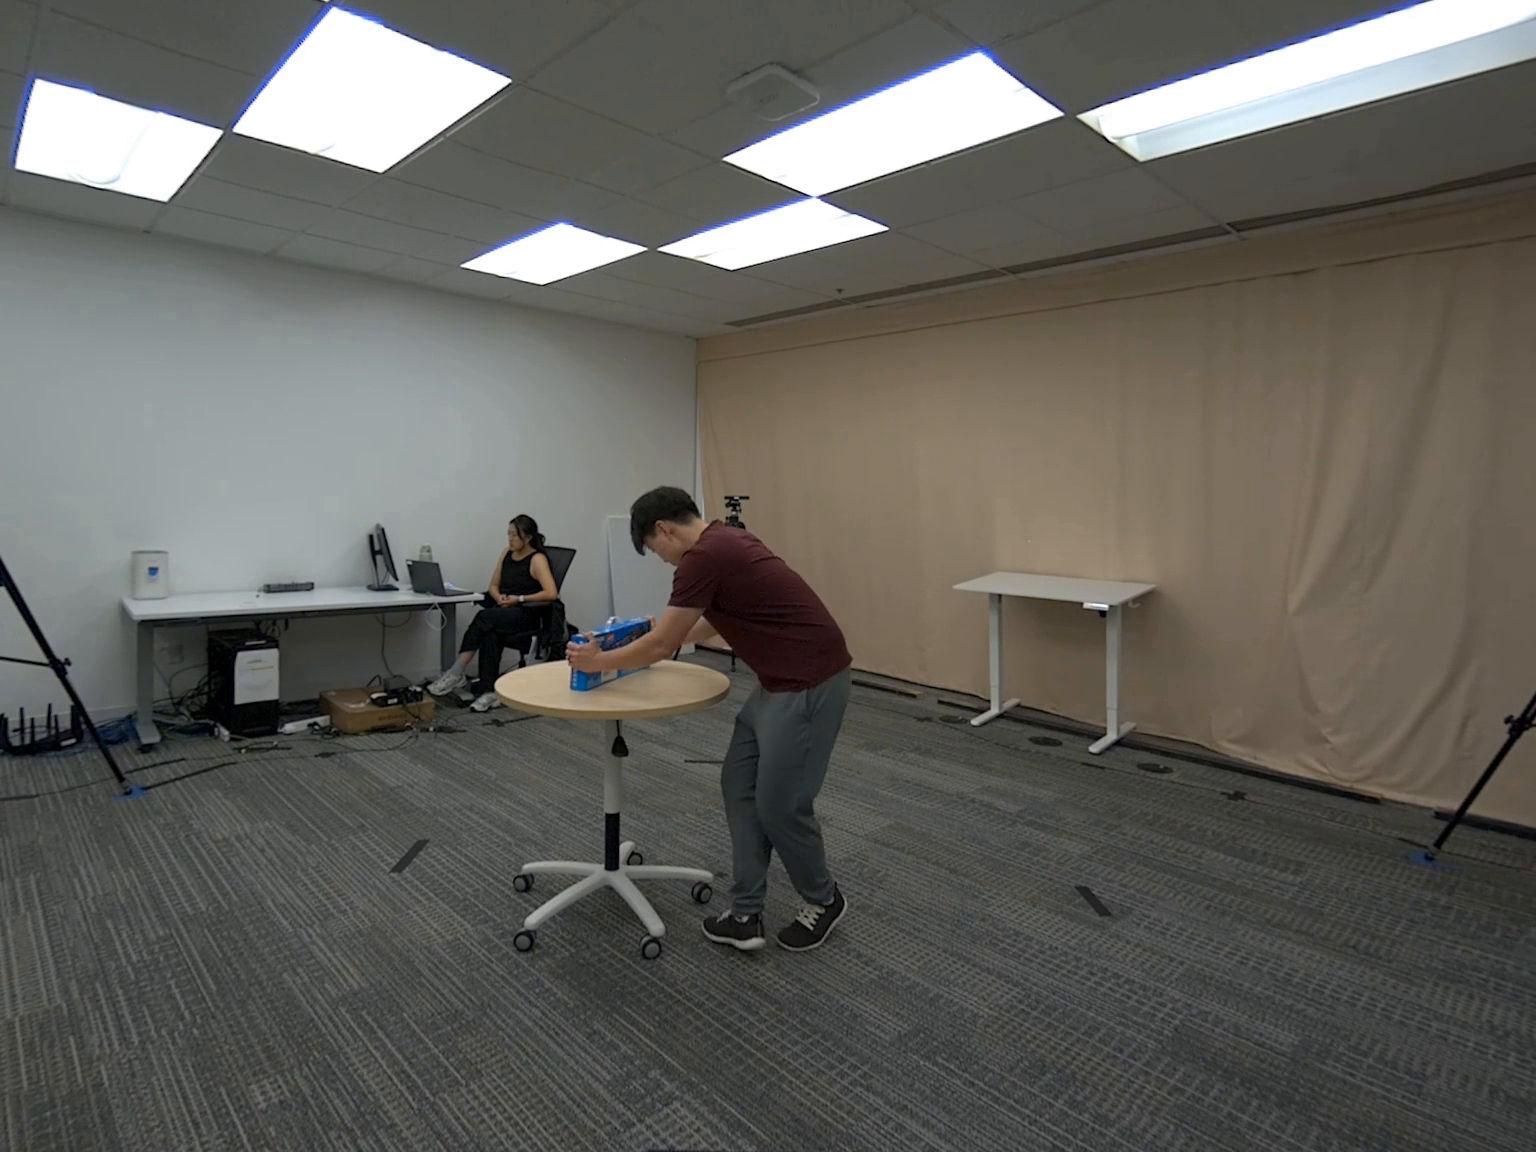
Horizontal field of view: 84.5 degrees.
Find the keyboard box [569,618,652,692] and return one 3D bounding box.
[{"bbox_3d":[-0.523,0.260,2.831,0.060,0.175,0.431,2,6,21],"label":"keyboard box"}]
